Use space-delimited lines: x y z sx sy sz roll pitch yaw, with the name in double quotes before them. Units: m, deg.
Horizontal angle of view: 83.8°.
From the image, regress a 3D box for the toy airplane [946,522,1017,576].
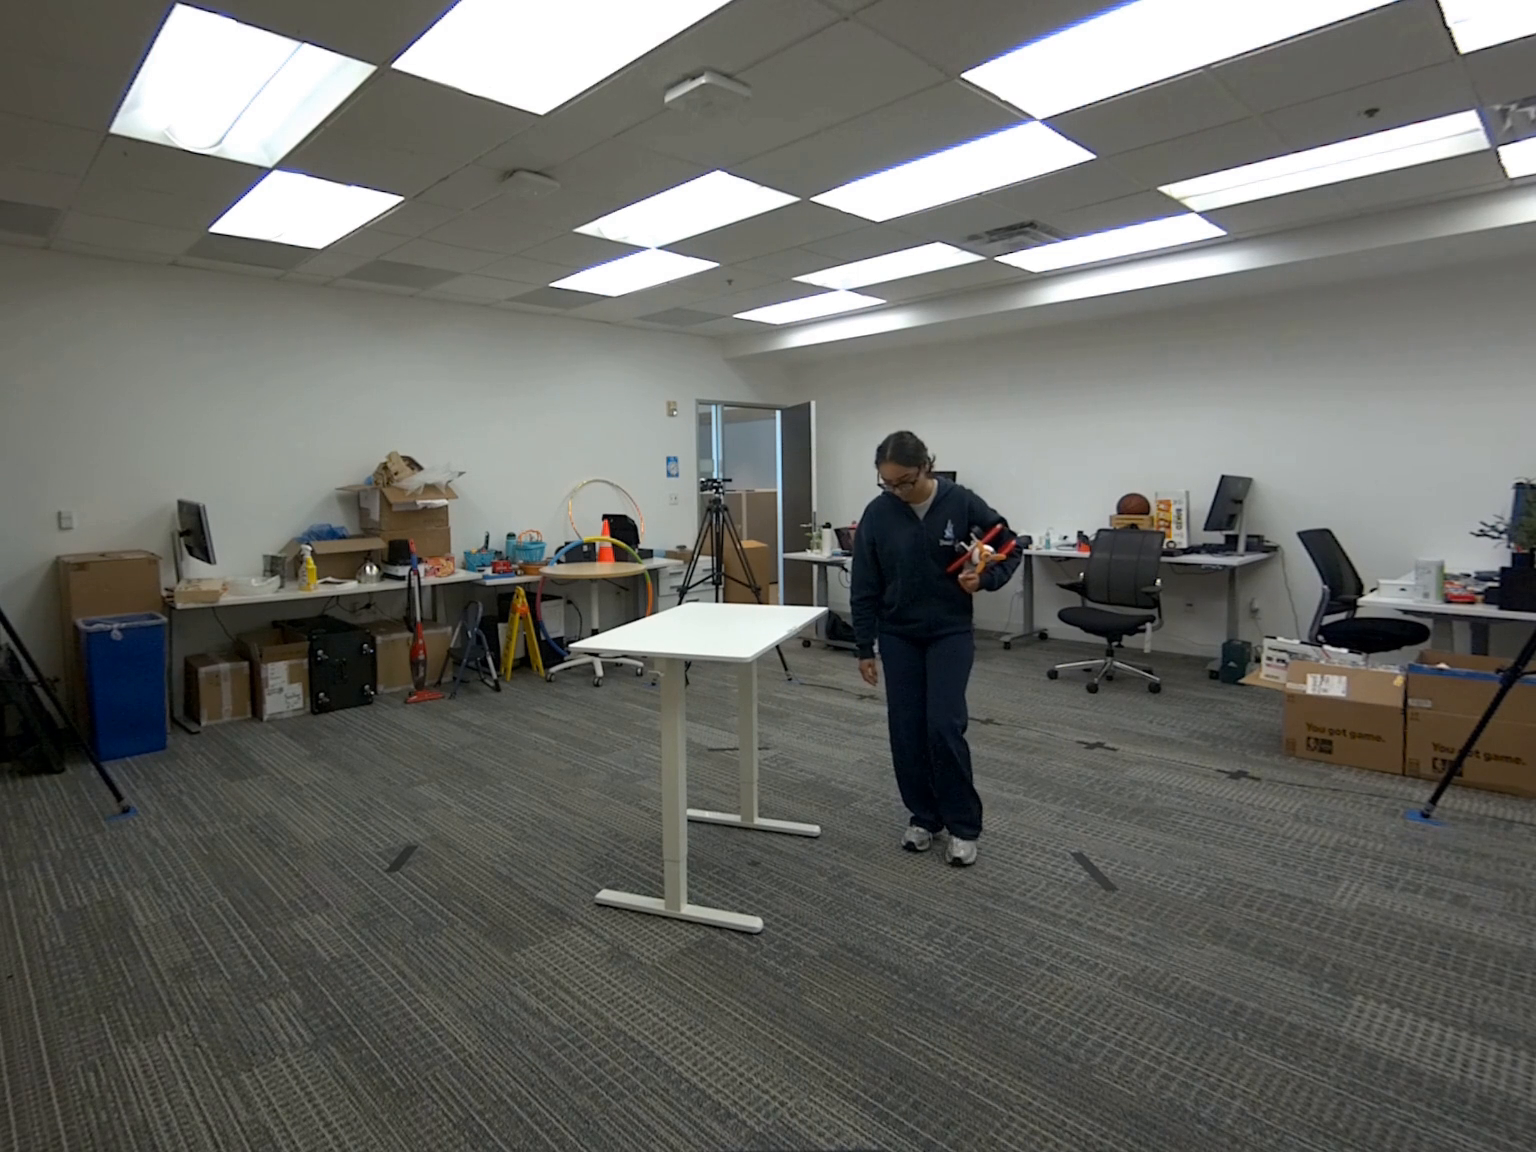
"toy airplane" 0.766 -0.088 3.122 0.251 0.159 0.254 -47 -15 32
